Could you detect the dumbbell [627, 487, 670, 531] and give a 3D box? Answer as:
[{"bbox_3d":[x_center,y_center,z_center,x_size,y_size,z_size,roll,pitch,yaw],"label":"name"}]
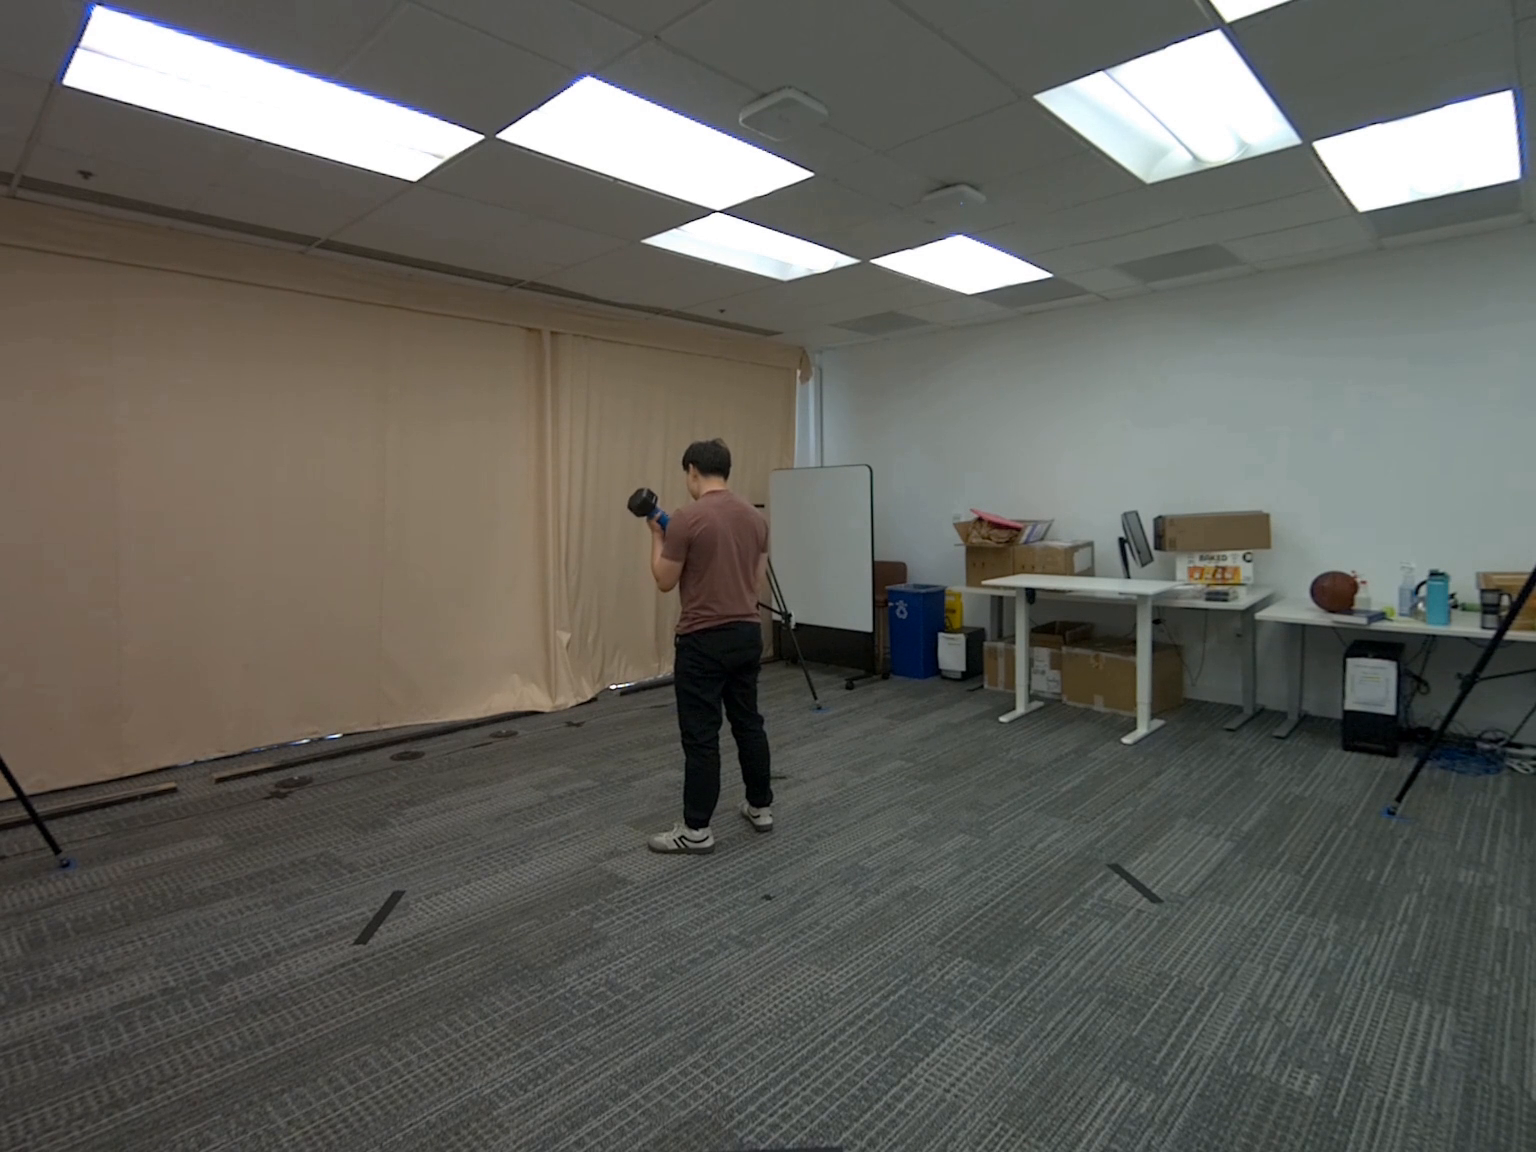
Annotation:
[{"bbox_3d":[-0.456,-0.234,3.555,0.110,0.125,0.285,-28,-56,29],"label":"dumbbell"}]
